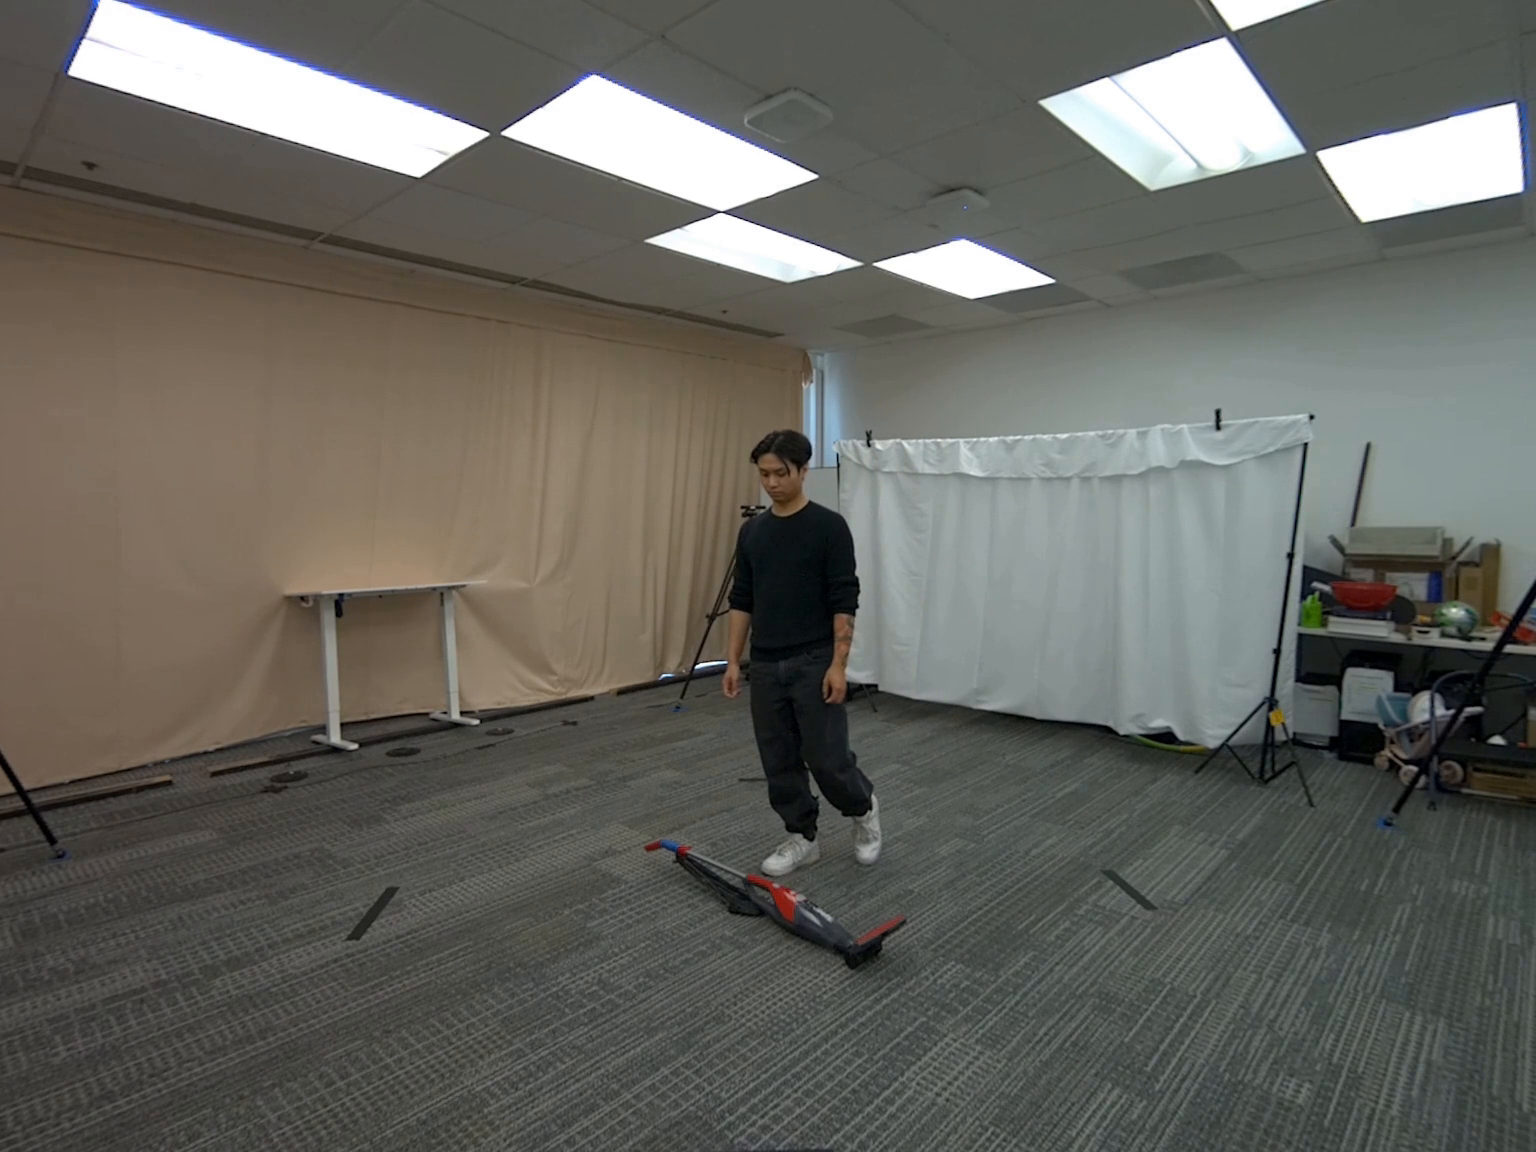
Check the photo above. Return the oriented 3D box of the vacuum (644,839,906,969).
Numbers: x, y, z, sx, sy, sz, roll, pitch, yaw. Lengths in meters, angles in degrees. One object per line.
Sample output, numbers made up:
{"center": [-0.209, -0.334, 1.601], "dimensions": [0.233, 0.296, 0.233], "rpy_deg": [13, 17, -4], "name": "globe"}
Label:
{"center": [-0.070, 1.089, 2.907], "dimensions": [1.084, 0.144, 0.245], "rpy_deg": [3, 3, 43], "name": "vacuum"}
